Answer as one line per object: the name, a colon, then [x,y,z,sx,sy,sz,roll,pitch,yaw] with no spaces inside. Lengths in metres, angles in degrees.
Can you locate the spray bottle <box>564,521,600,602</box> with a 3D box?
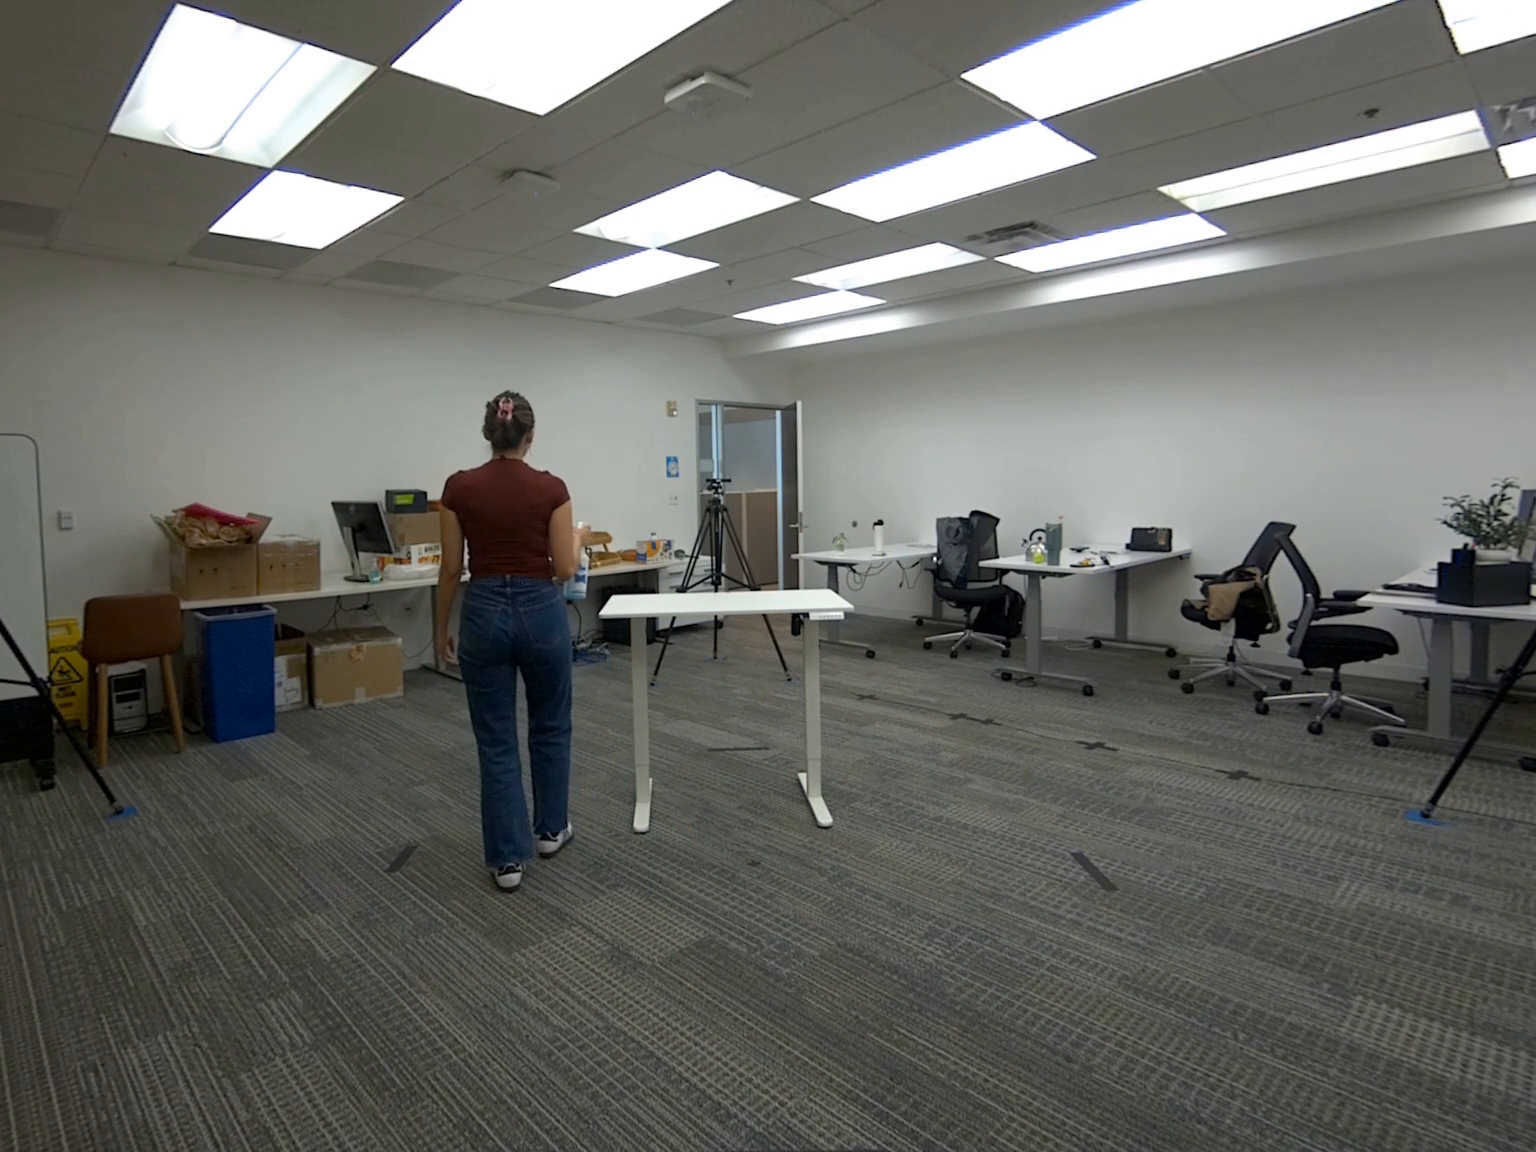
spray bottle: [-0.727,-0.057,3.306,0.089,0.298,0.088,4,-5,19]
